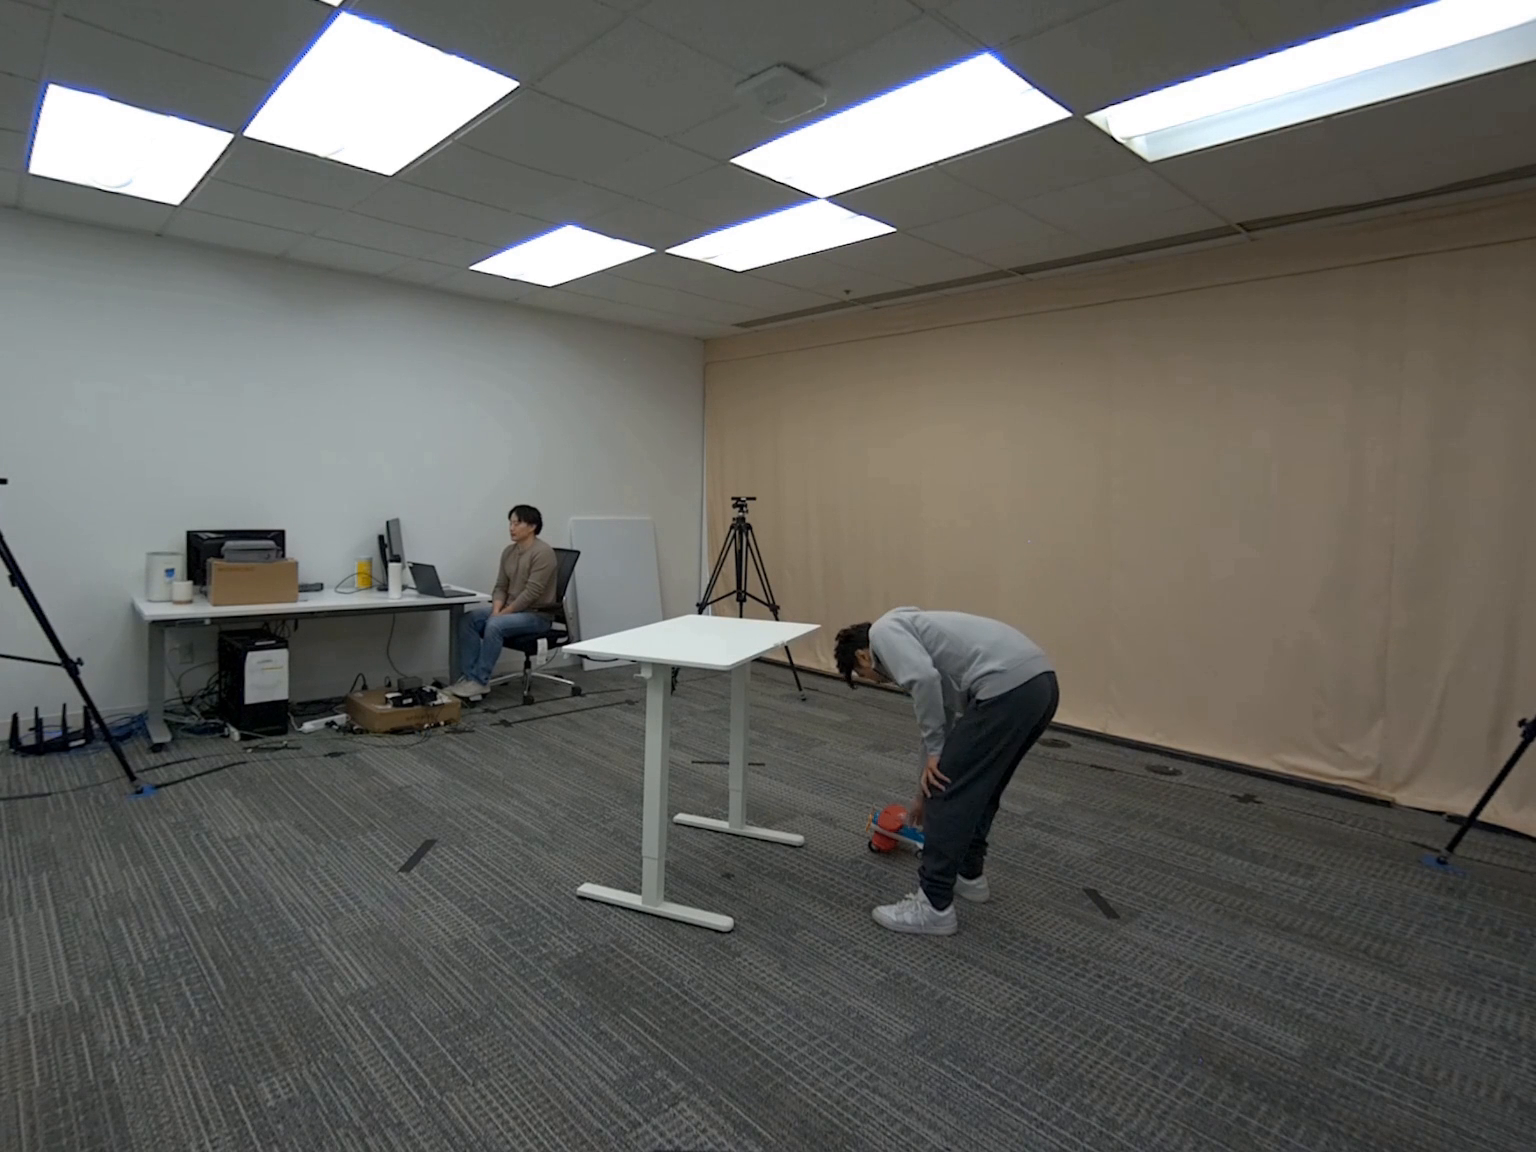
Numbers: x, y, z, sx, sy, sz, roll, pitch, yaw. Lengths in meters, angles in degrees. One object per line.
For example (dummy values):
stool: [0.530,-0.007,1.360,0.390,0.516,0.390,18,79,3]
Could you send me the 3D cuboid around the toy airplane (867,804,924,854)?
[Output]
toy airplane: [0.509,1.019,3.366,0.259,0.156,0.252,-1,4,-2]
